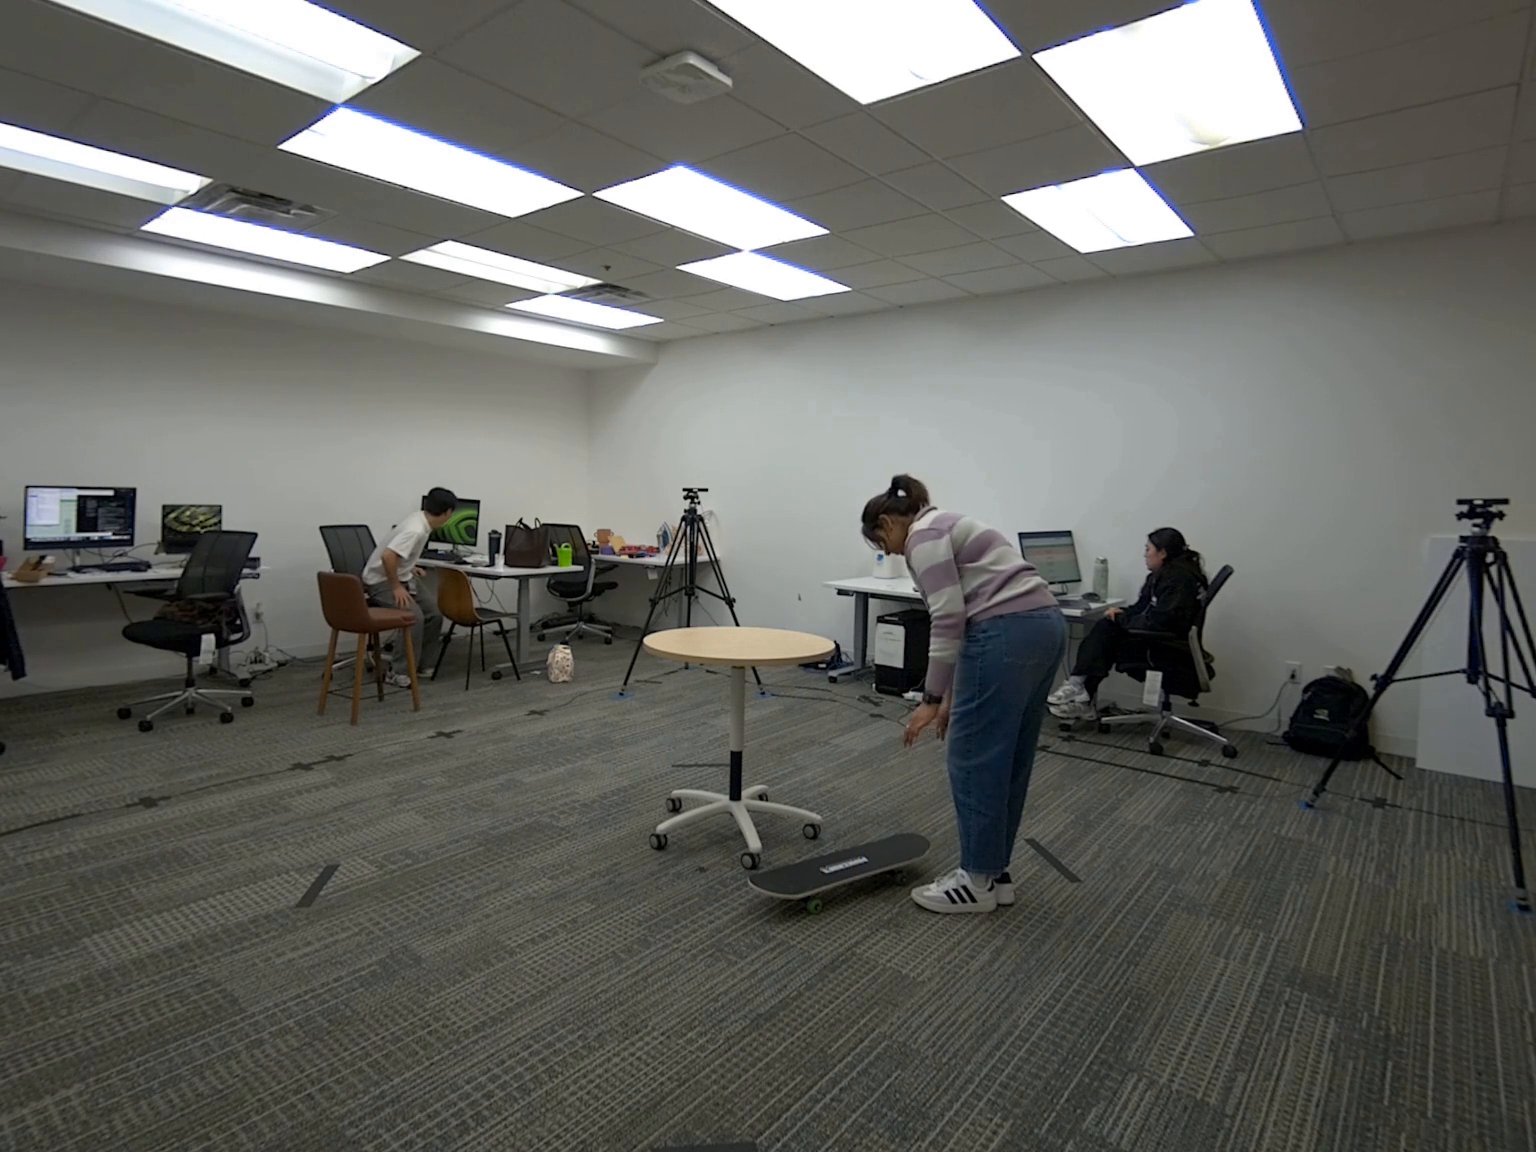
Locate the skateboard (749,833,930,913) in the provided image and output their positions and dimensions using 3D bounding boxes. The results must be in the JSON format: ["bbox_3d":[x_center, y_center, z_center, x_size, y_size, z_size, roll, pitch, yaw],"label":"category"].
[{"bbox_3d":[0.261,1.036,2.975,0.763,0.110,0.200,-2,6,-34],"label":"skateboard"}]
